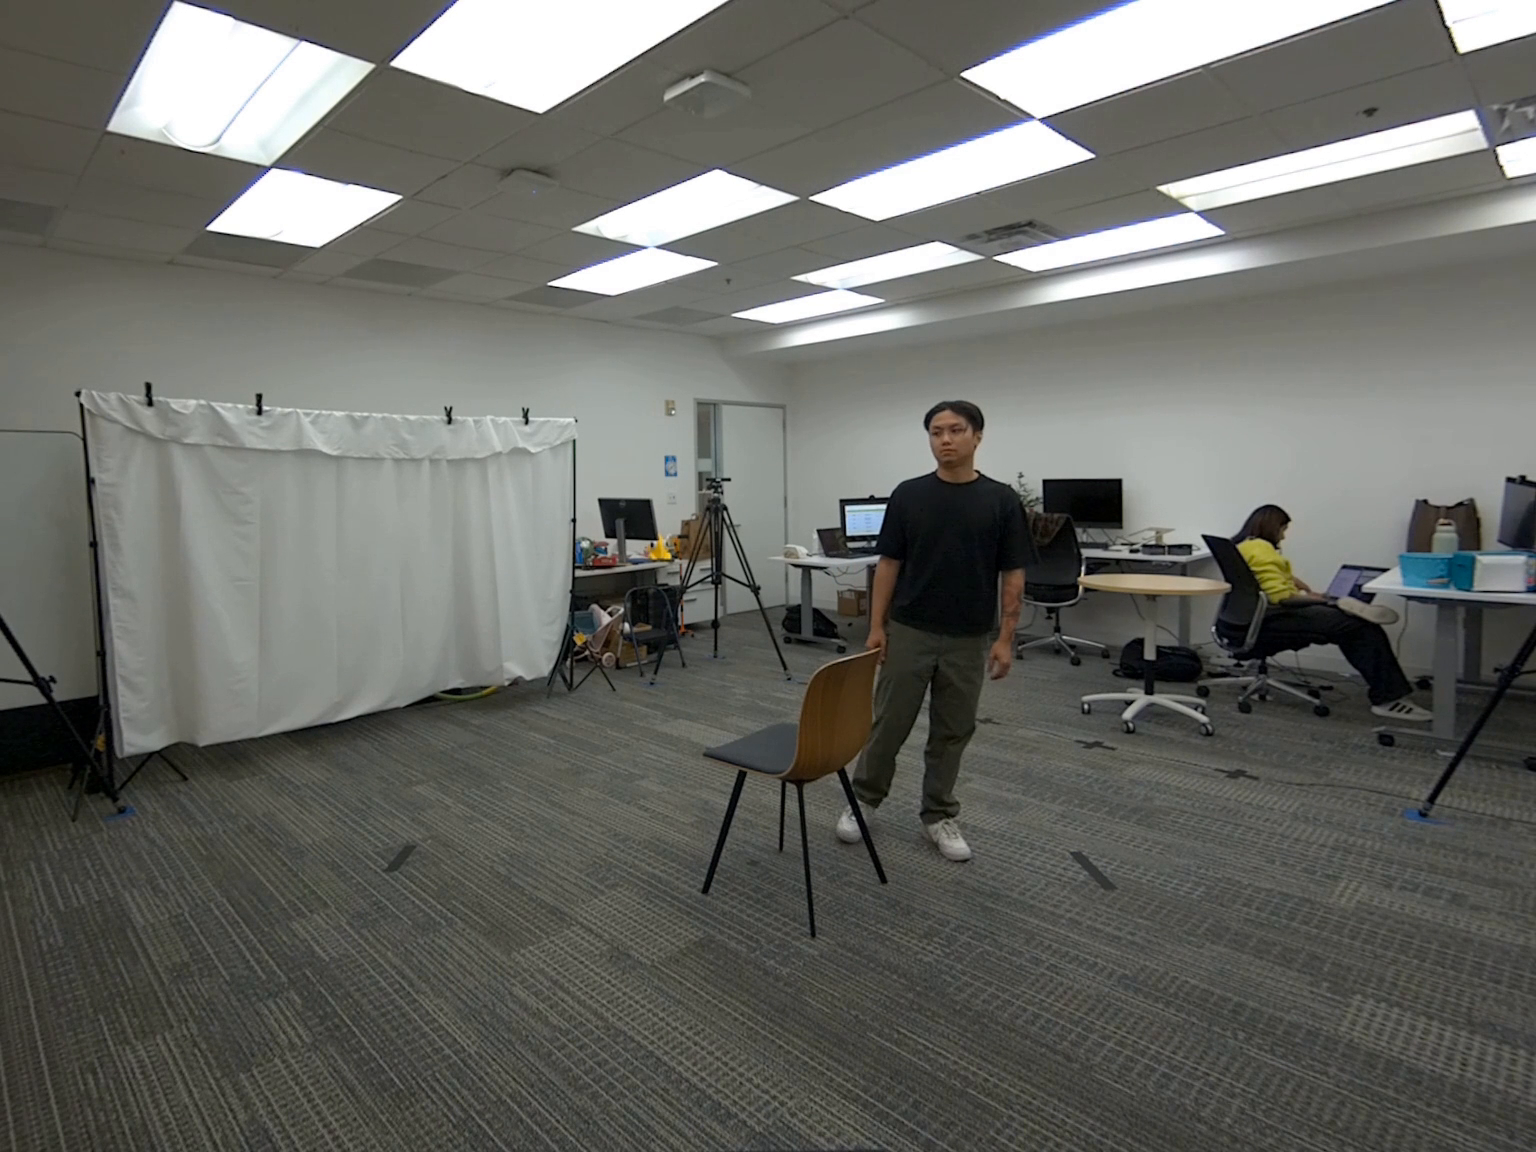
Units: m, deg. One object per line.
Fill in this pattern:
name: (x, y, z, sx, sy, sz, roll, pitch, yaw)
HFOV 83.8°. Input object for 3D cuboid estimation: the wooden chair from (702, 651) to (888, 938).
wooden chair: (0.082, 0.638, 2.876, 0.540, 0.872, 0.466, 8, 9, 38)
